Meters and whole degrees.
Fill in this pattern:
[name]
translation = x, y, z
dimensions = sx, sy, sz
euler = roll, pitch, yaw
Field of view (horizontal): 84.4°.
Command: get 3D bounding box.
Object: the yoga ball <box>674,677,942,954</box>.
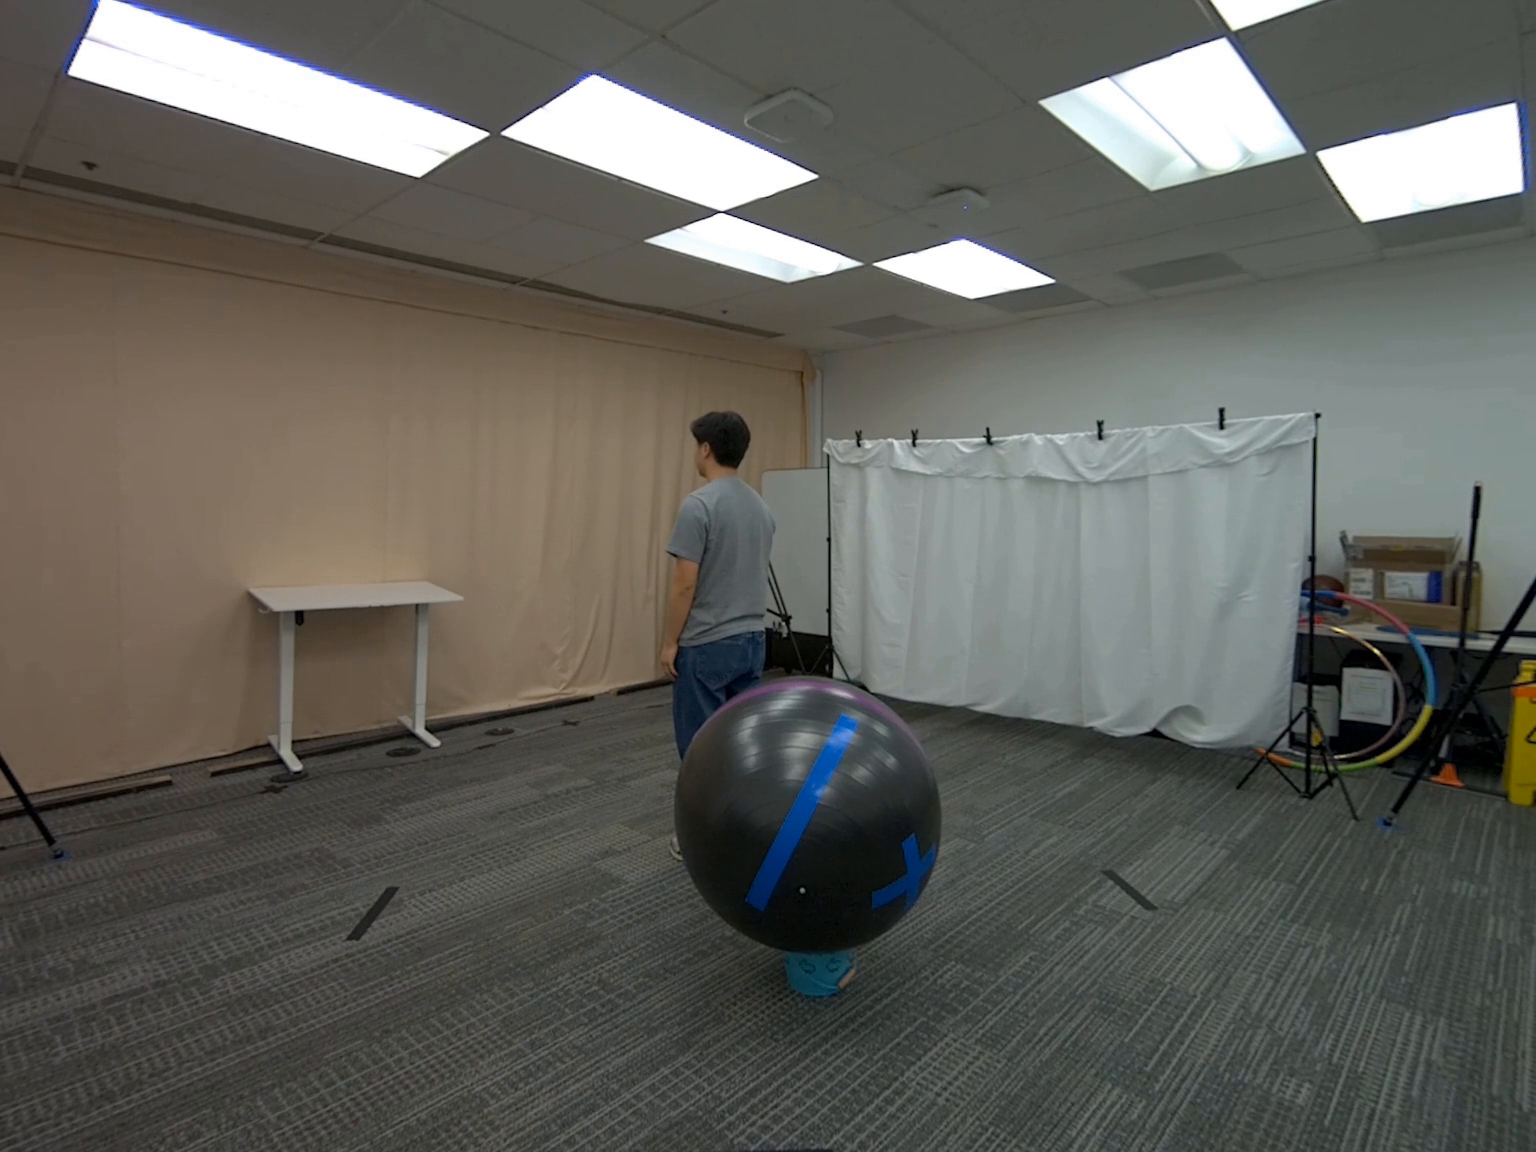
[yoga ball]
translation = 0.118, 0.684, 2.421
dimensions = 0.757, 0.756, 0.761
euler = 0, 4, -2
